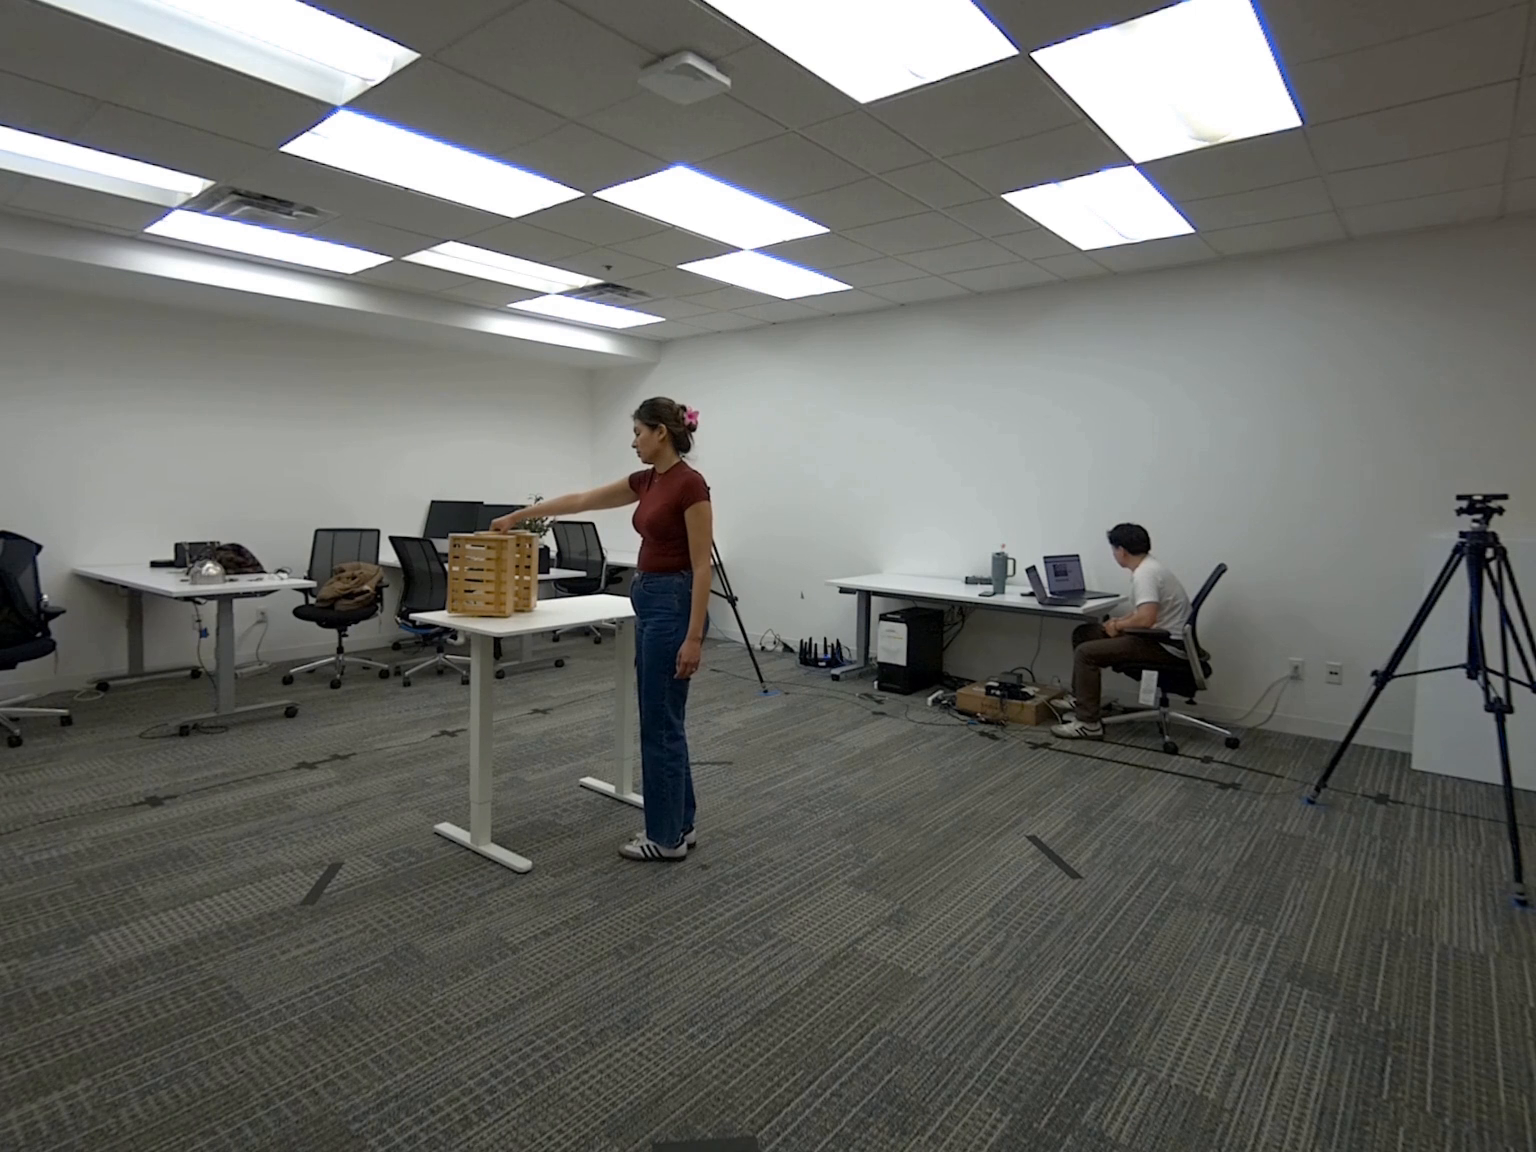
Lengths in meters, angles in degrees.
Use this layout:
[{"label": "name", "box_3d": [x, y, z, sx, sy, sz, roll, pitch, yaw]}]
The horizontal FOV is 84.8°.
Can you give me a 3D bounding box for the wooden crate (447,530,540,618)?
[{"label": "wooden crate", "box_3d": [-1.107, -0.016, 3.373, 0.302, 0.323, 0.274, 4, 4, 0]}]
